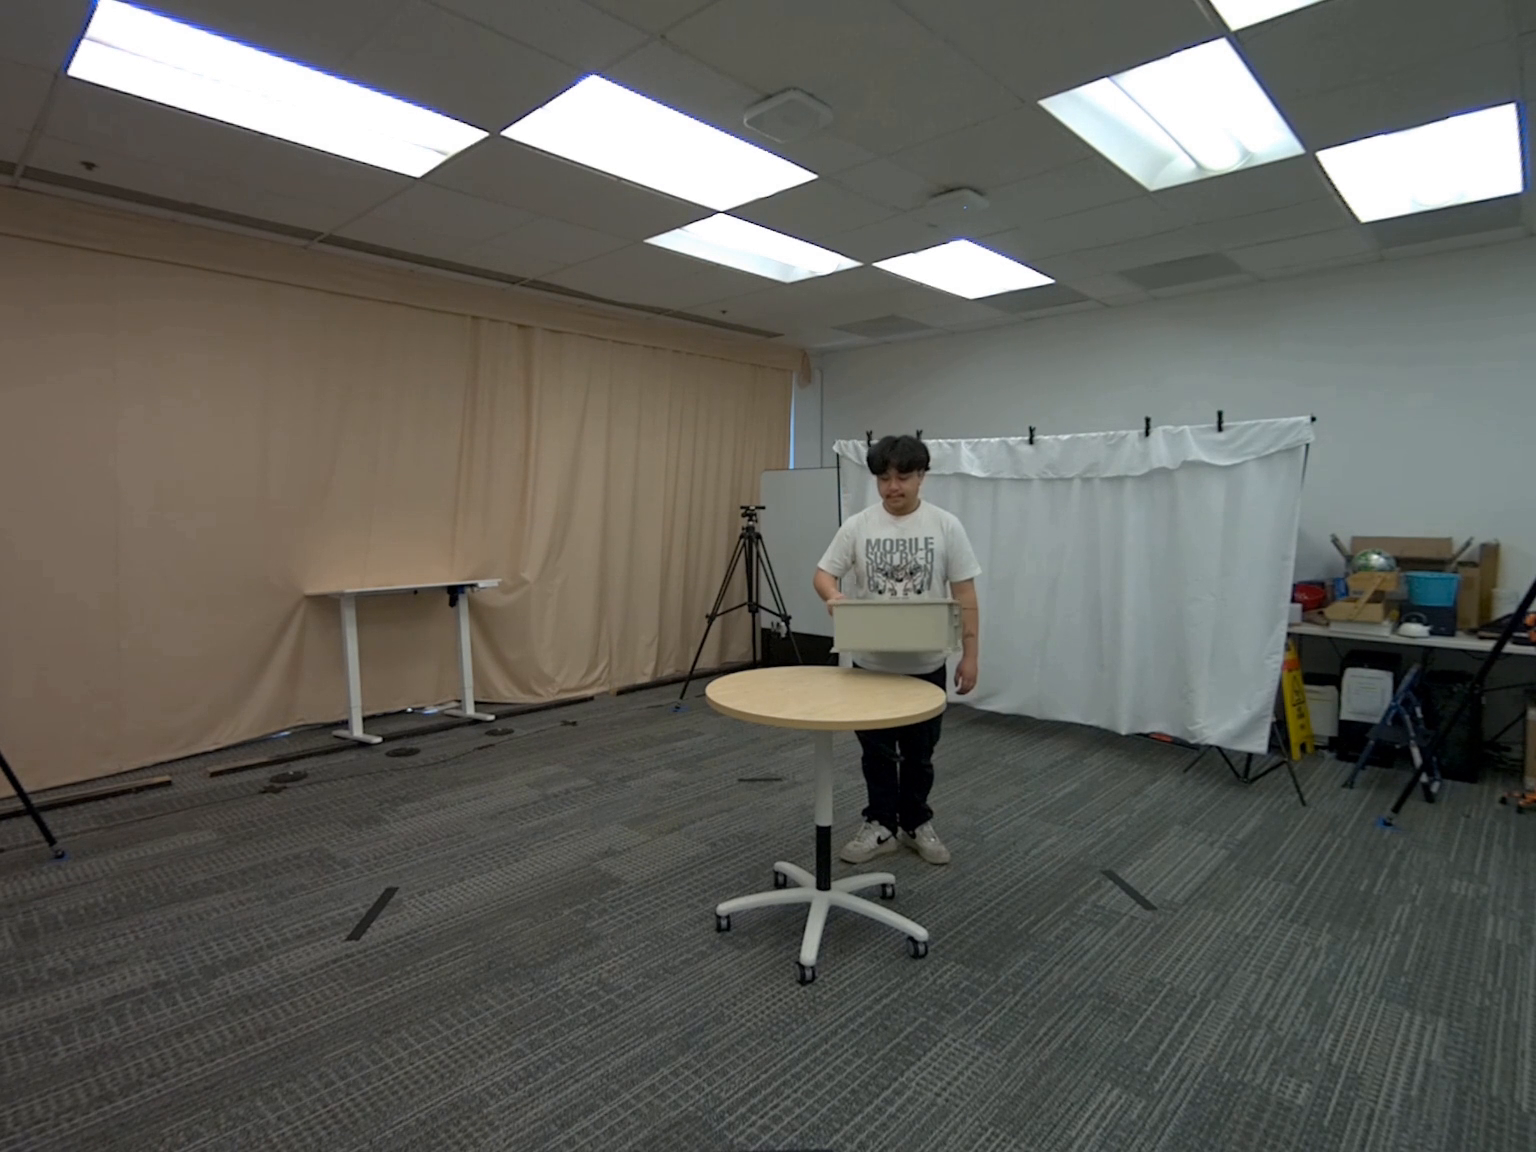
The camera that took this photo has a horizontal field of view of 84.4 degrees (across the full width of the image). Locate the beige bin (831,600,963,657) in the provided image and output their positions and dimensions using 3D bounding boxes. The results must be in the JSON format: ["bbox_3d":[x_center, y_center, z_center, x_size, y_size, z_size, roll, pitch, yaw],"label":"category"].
[{"bbox_3d":[0.462,0.182,3.010,0.431,0.189,0.369,0,-2,19],"label":"beige bin"}]
